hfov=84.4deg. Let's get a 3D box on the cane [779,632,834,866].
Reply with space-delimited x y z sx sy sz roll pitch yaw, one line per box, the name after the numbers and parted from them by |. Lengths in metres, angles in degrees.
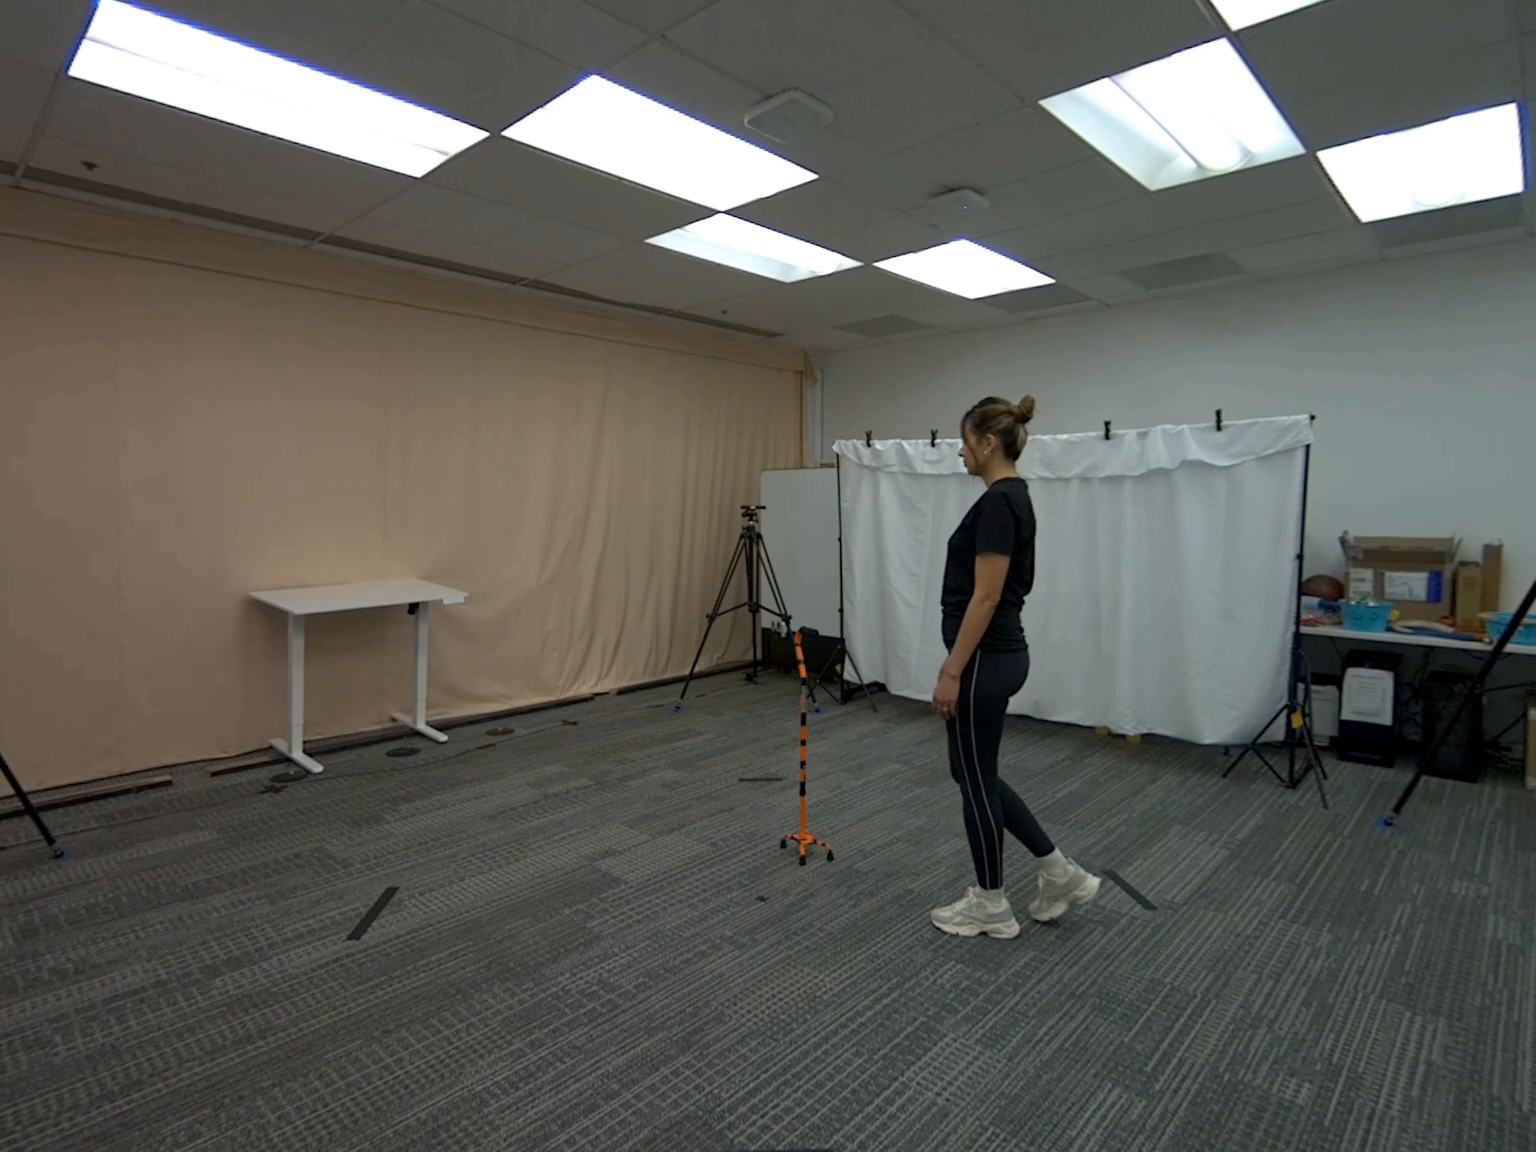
0.159 0.659 3.348 0.149 0.906 0.211 -2 3 -20 | cane
